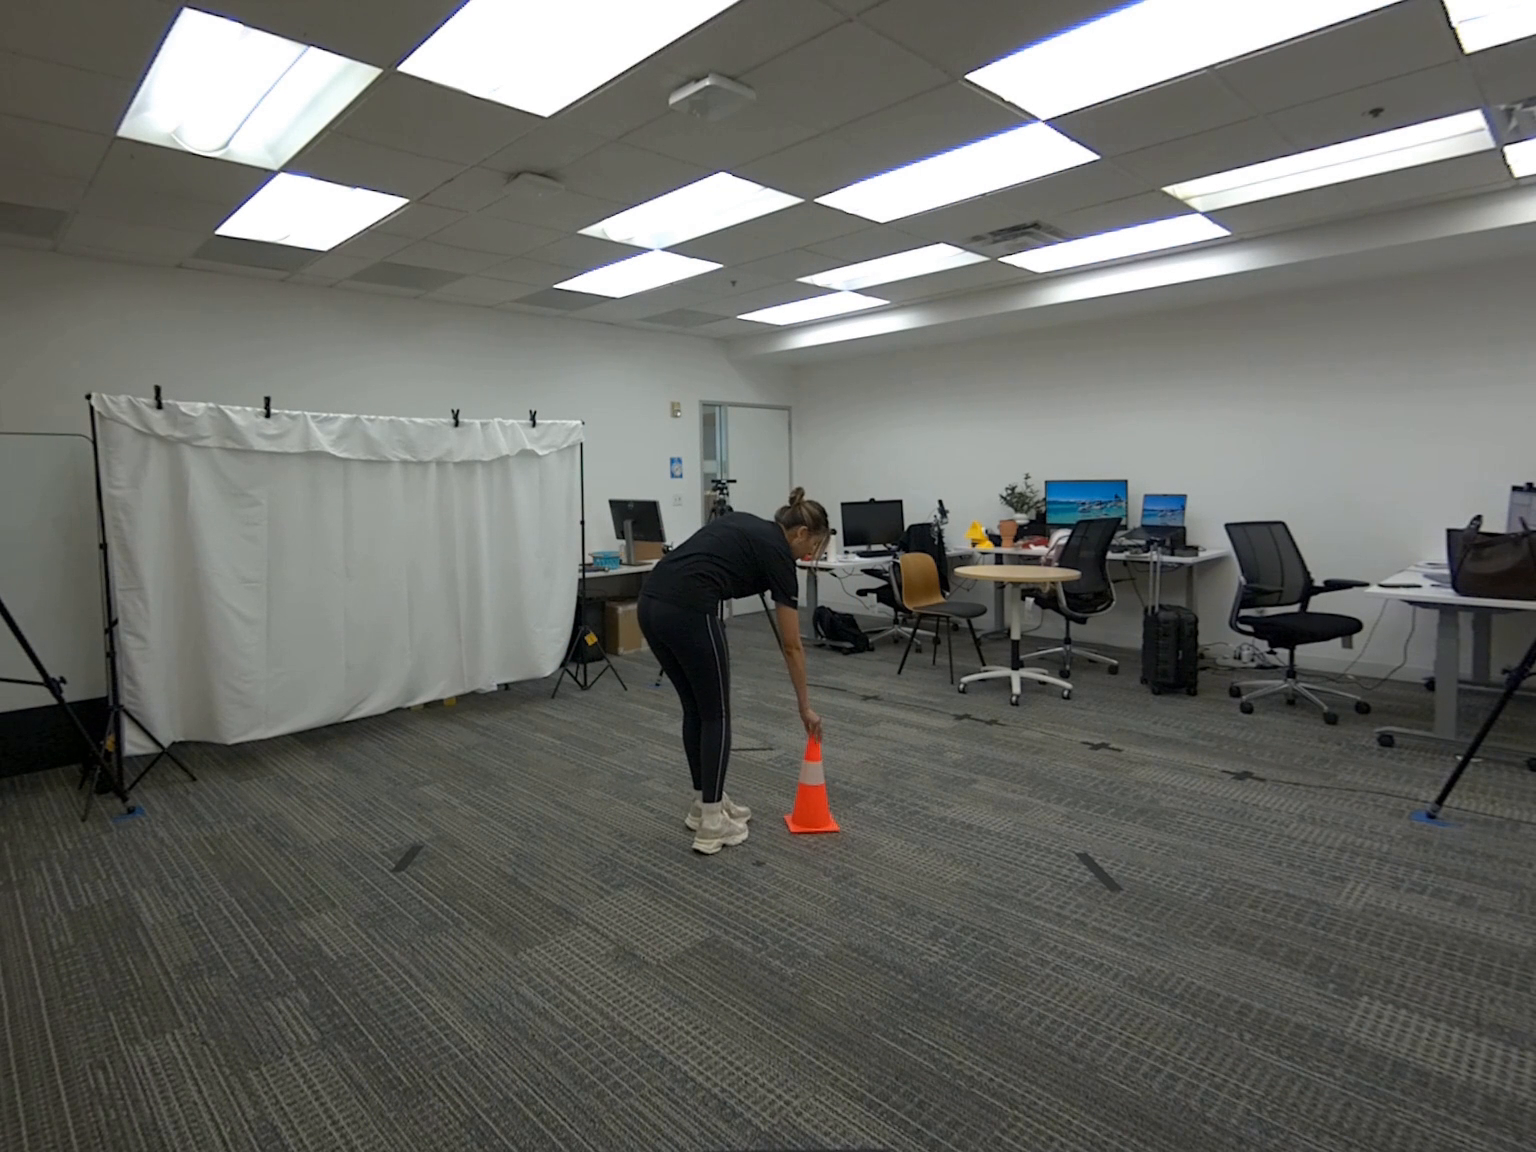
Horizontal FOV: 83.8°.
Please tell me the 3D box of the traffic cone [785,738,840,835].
[{"bbox_3d":[0.177,0.812,3.456,0.203,0.383,0.206,0,1,-4],"label":"traffic cone"}]
